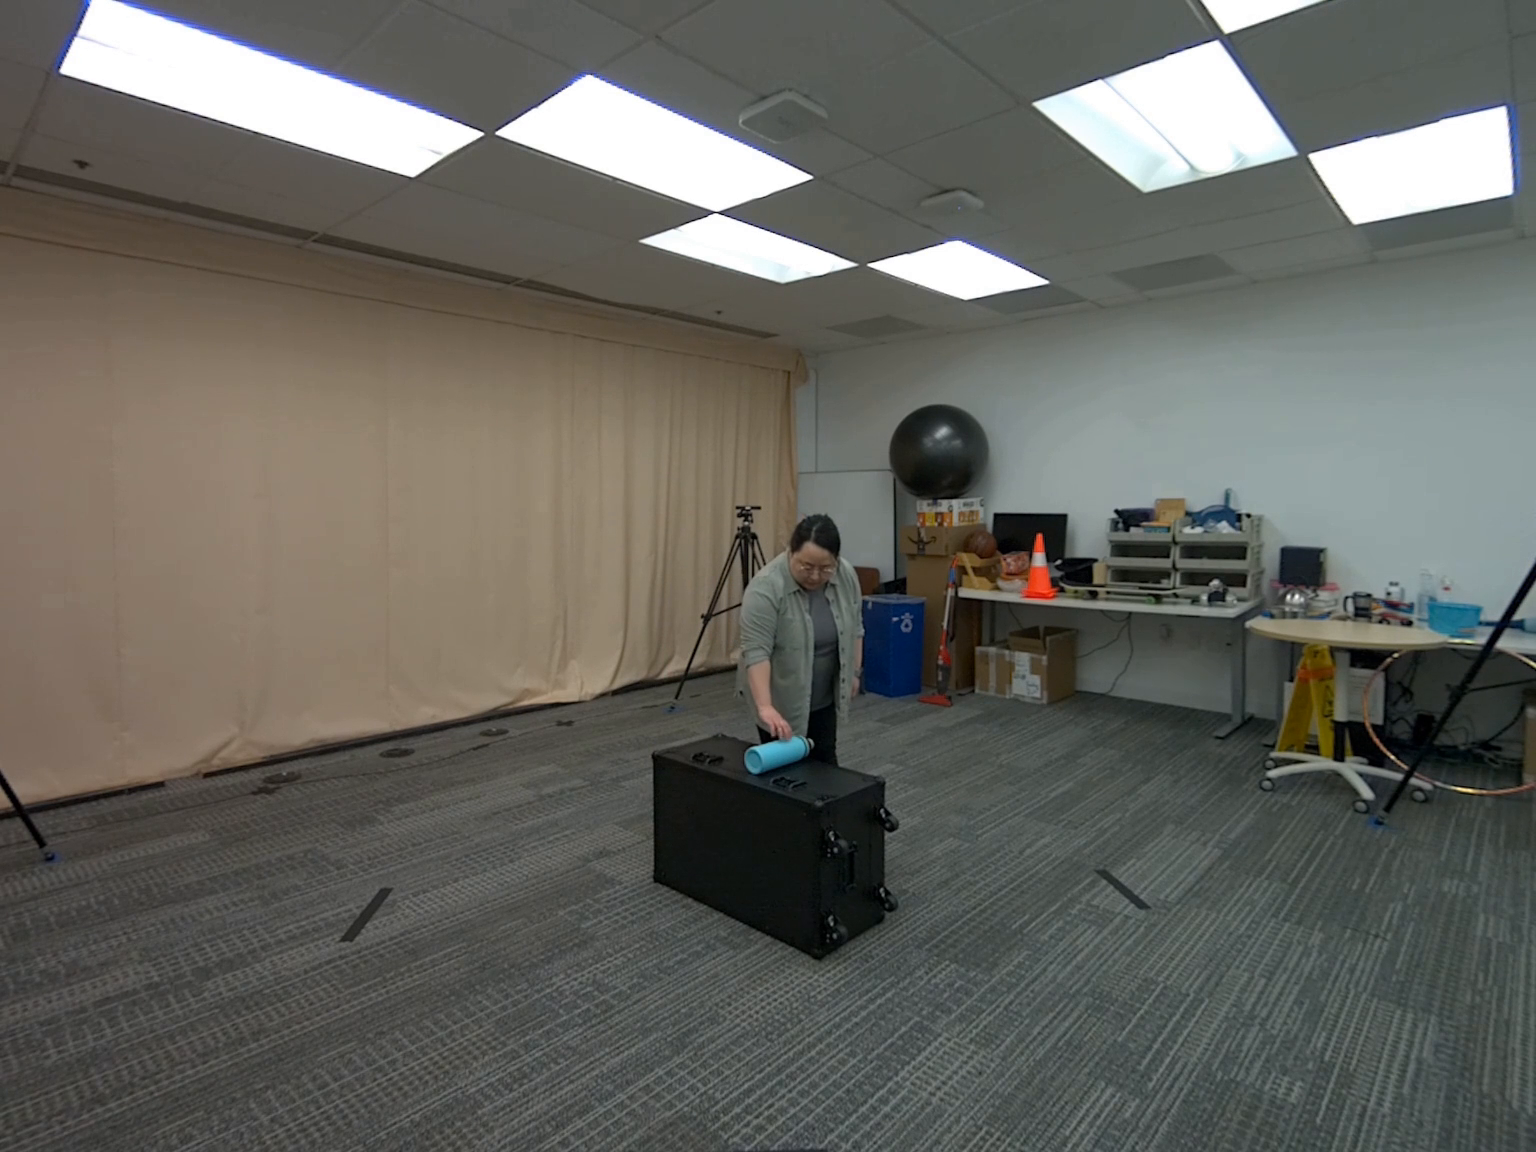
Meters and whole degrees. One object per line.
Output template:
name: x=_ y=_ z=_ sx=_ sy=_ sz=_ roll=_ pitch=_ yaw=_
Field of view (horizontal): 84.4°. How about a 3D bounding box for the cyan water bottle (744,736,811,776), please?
cyan water bottle: x=0.043 y=0.612 z=2.949 sx=0.095 sy=0.092 sz=0.275 roll=4 pitch=6 yaw=44
